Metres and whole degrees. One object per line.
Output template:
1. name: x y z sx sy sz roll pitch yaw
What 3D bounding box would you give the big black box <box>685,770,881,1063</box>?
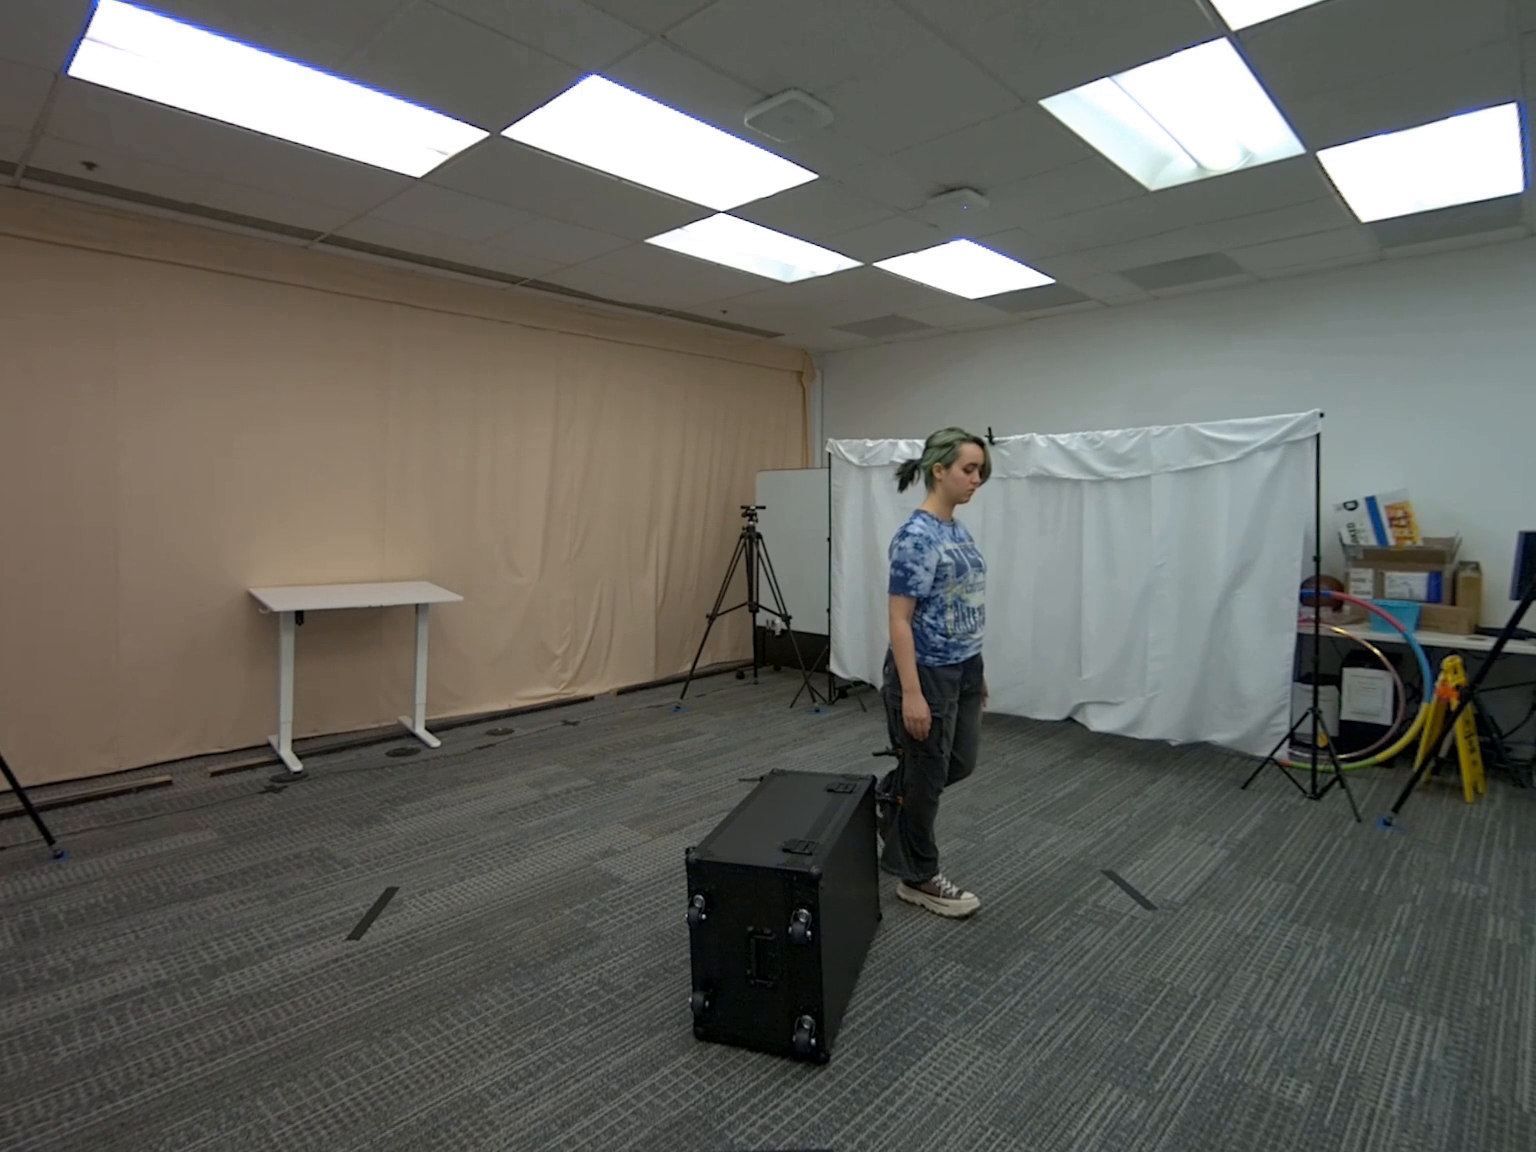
1. big black box: 0.062 0.931 2.463 0.404 0.520 0.845 -2 3 18
